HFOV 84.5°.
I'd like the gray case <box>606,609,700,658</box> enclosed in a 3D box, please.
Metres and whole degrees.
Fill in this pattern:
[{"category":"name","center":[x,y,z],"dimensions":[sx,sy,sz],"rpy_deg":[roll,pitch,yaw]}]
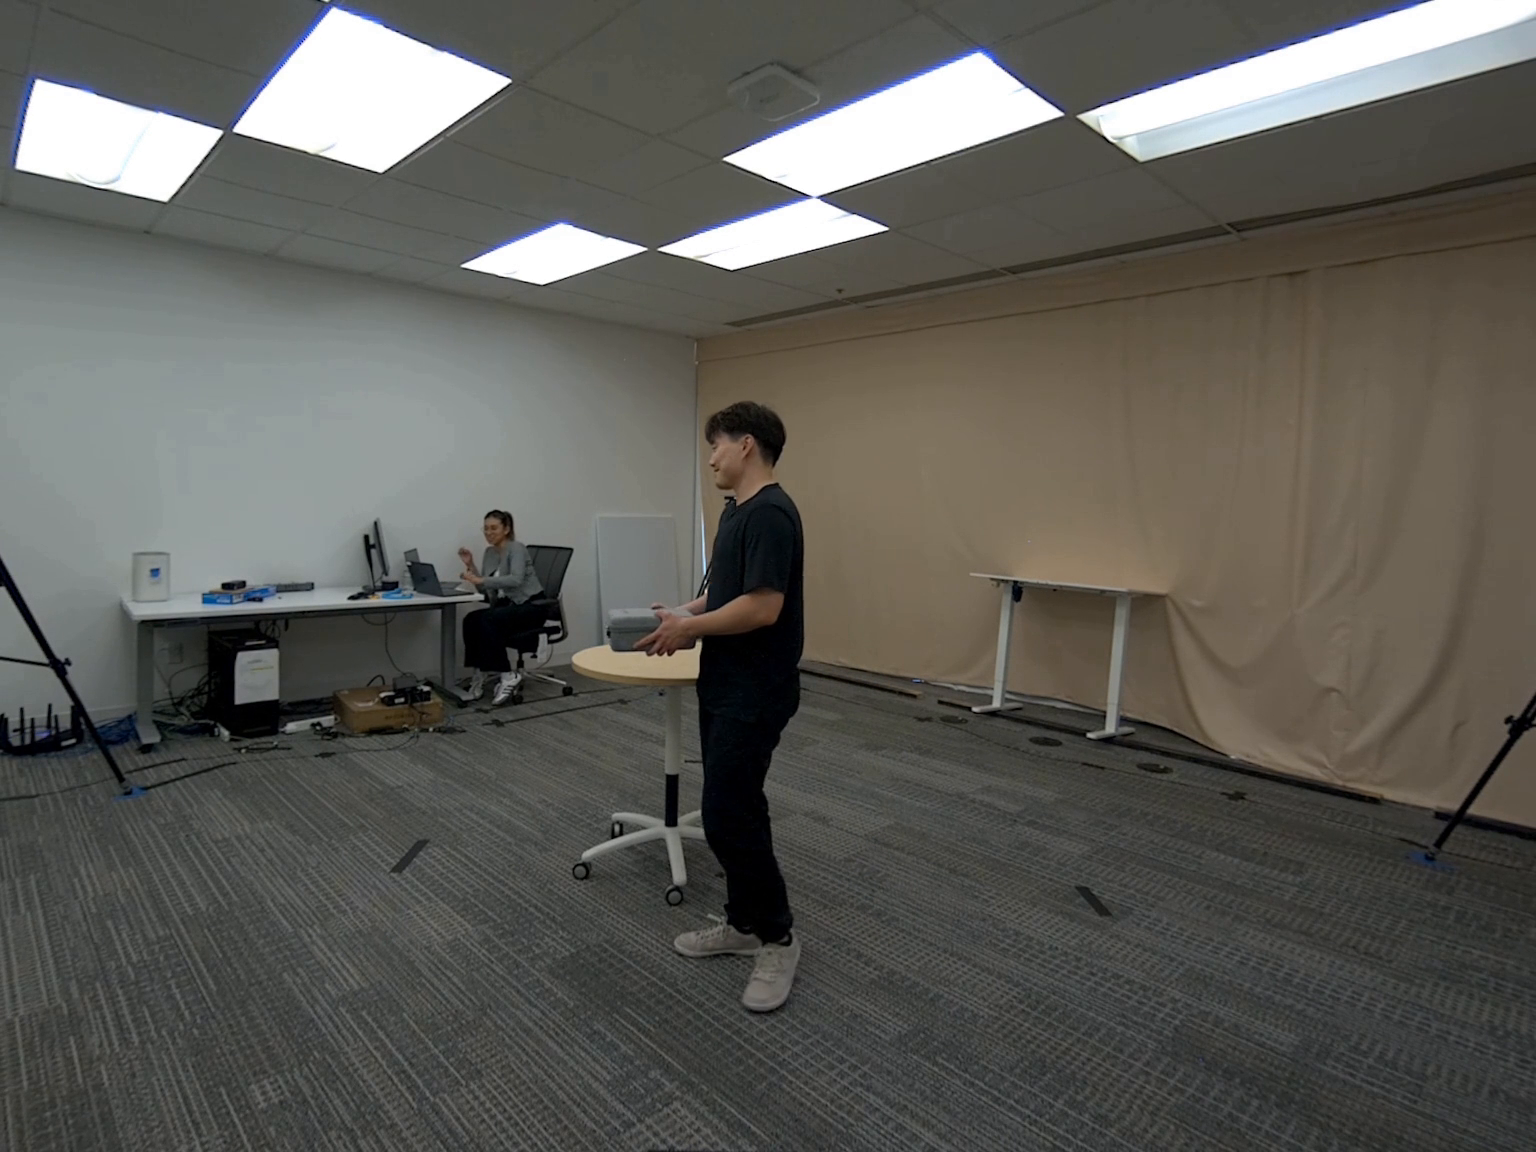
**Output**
[{"category":"gray case","center":[-0.342,0.164,2.487],"dimensions":[0.259,0.104,0.259],"rpy_deg":[0,4,-8]}]
